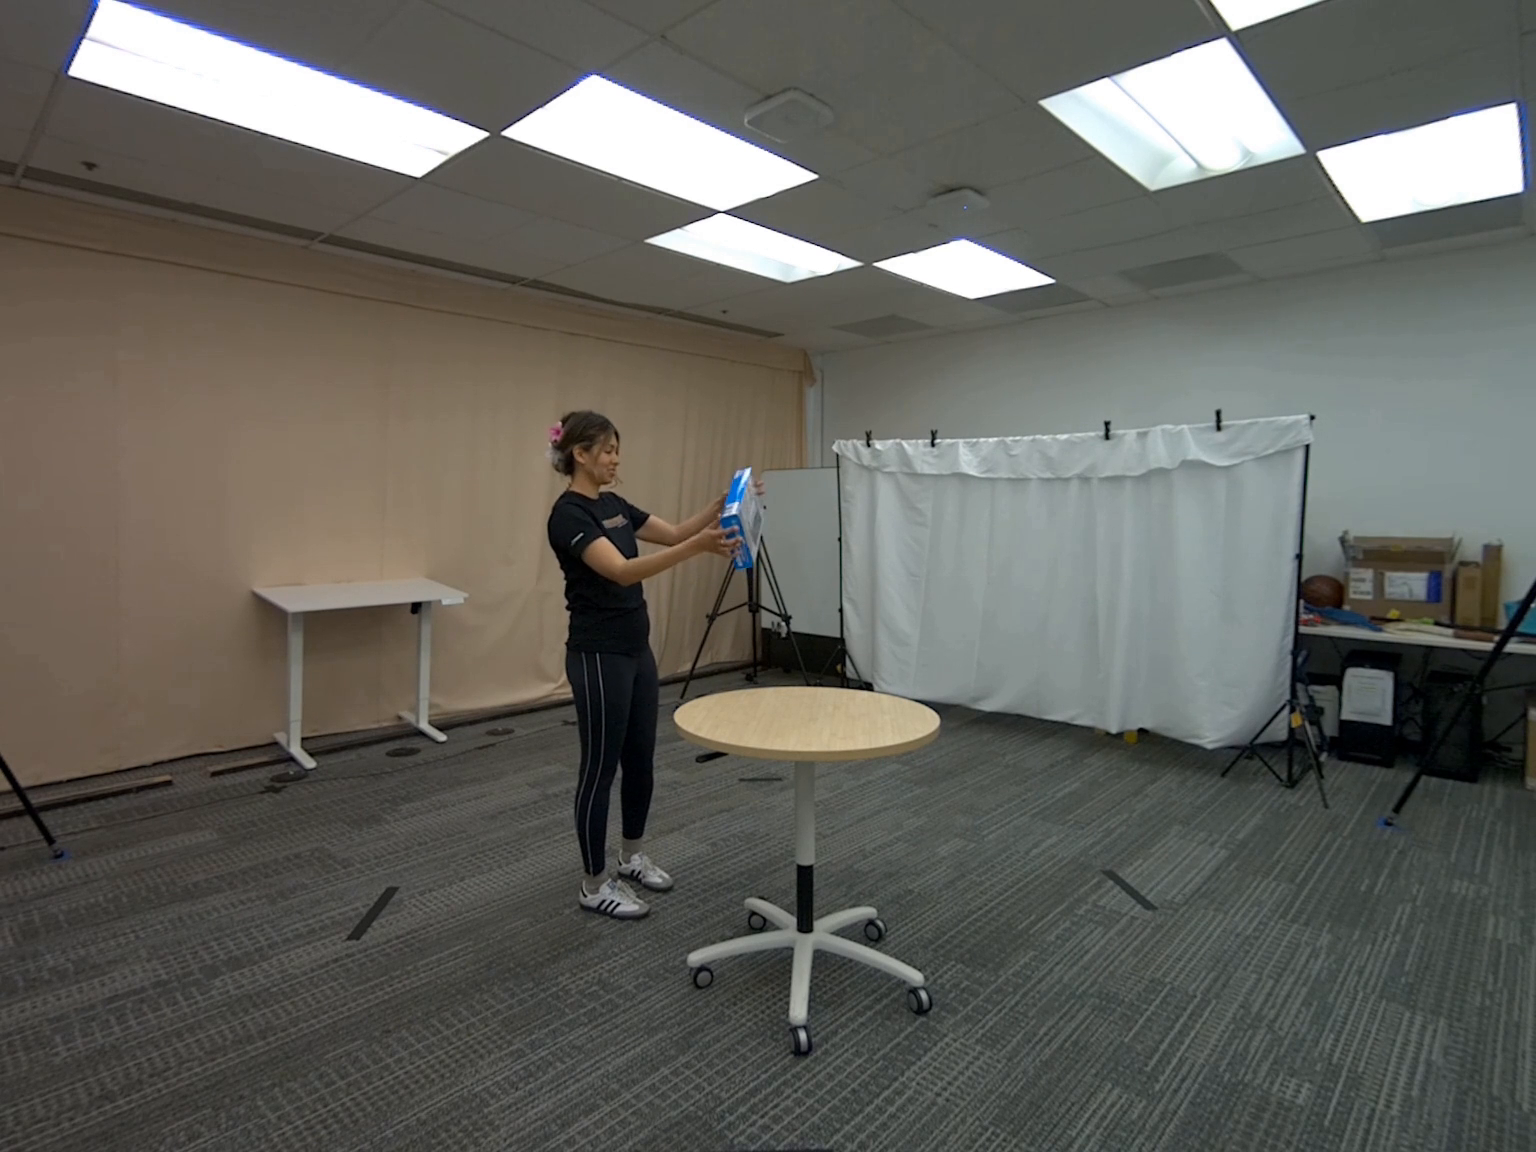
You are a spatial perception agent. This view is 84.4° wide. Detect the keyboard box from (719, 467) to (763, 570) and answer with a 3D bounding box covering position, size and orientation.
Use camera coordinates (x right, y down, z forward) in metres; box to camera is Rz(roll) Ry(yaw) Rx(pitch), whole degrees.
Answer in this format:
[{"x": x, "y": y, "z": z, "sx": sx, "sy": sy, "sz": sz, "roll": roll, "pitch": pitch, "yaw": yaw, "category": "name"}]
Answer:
[{"x": -0.068, "y": -0.196, "z": 2.667, "sx": 0.060, "sy": 0.173, "sz": 0.439, "roll": -14, "pitch": 21, "yaw": 13, "category": "keyboard box"}]
